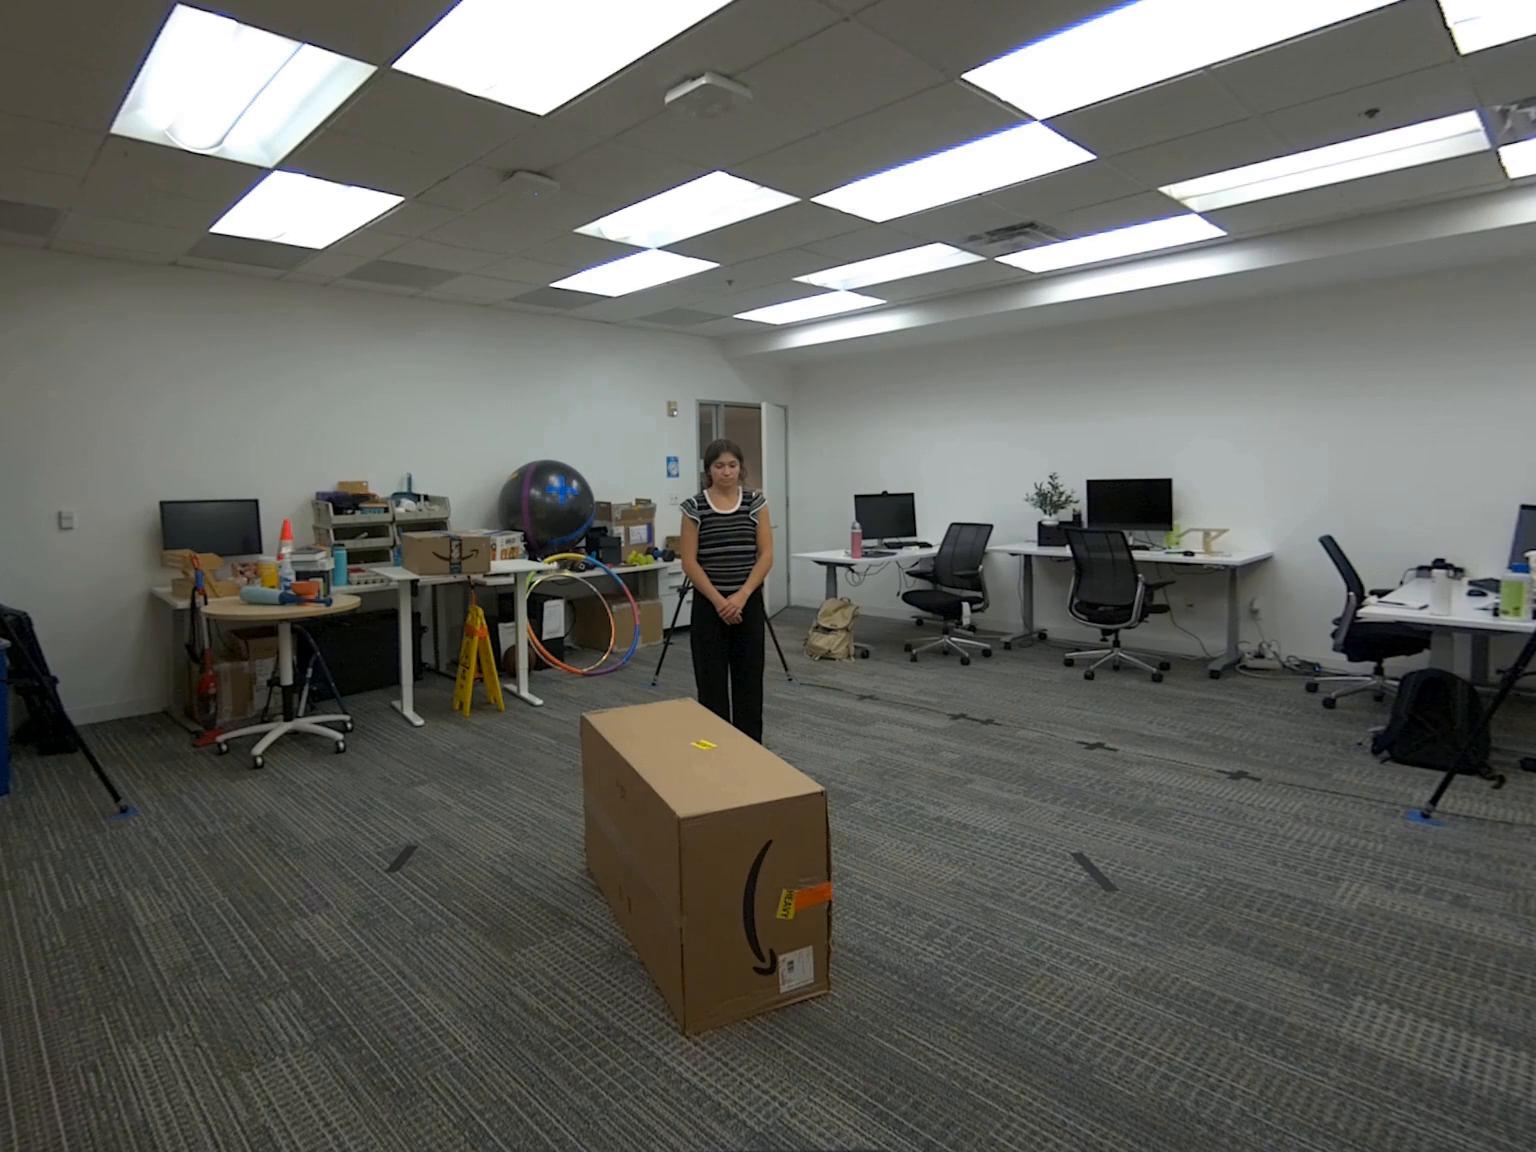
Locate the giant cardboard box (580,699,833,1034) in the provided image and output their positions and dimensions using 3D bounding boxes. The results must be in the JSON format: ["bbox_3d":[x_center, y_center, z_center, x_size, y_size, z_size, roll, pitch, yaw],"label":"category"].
[{"bbox_3d":[-0.250,0.814,2.680,0.418,0.575,1.052,-4,7,-24],"label":"giant cardboard box"}]
